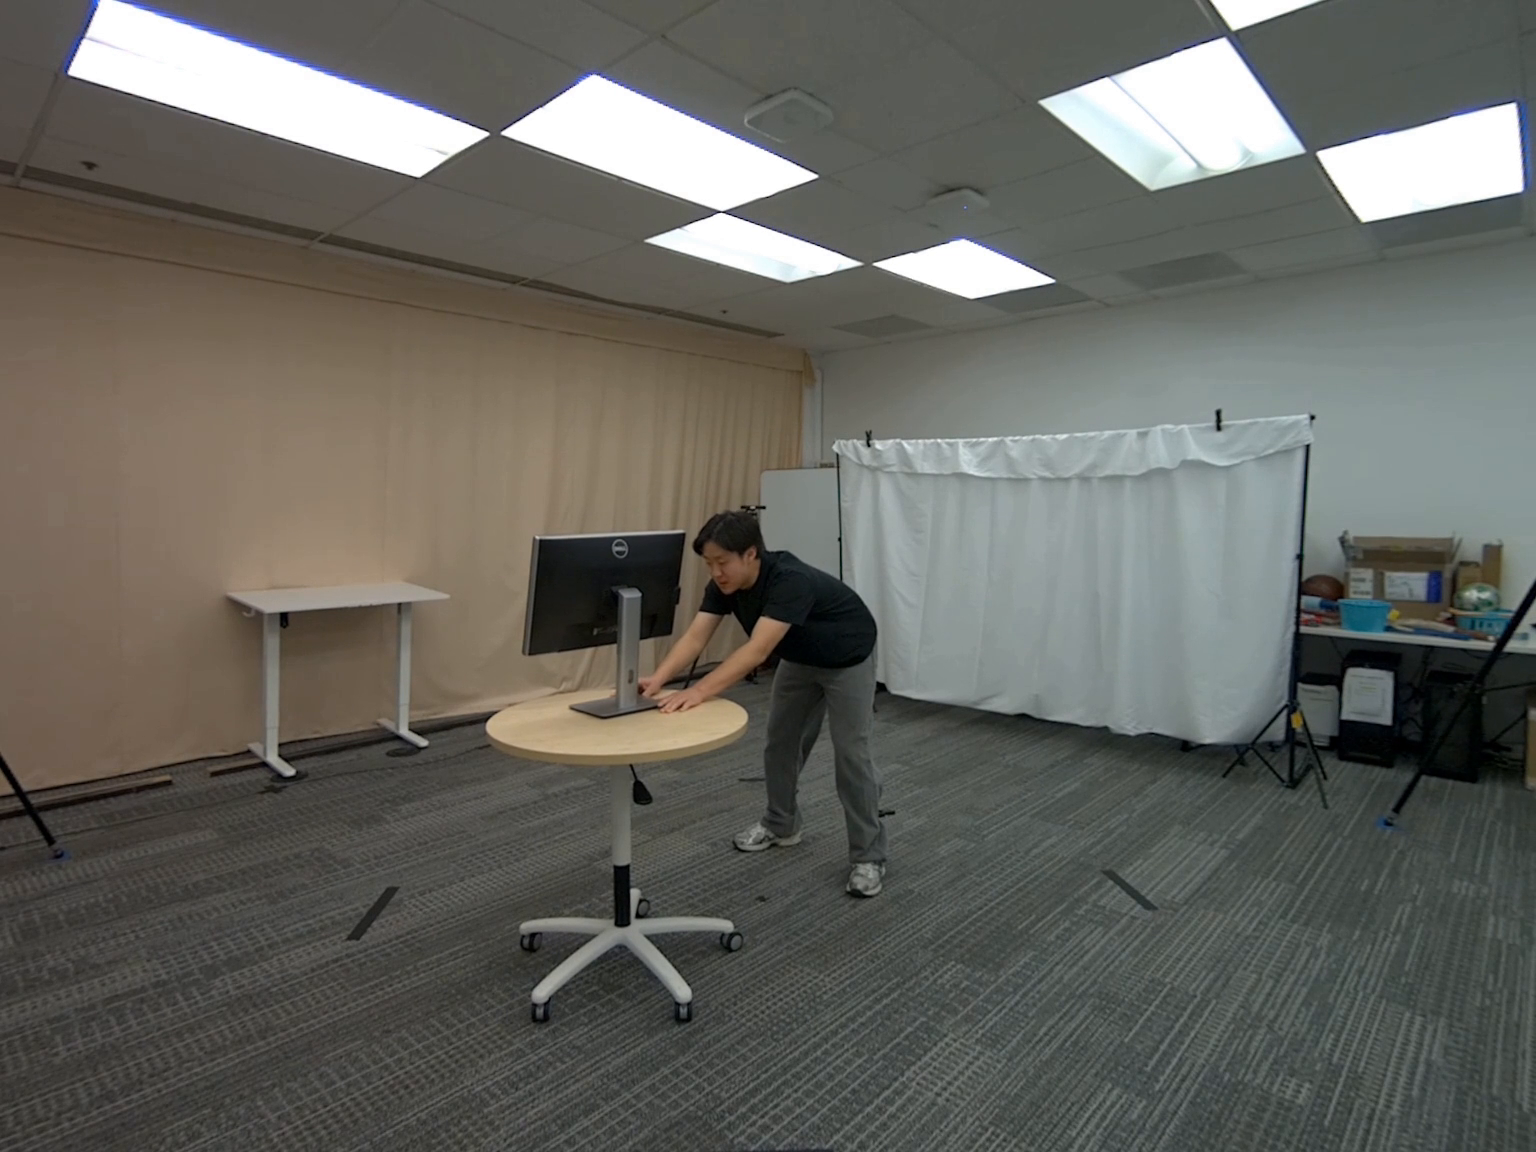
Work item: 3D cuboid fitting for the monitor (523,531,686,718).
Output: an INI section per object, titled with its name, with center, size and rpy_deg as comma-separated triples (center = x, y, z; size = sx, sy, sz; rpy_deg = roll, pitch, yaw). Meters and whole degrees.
[monitor]
center = -0.454, 0.144, 2.576
size = 0.217, 0.551, 0.548
rpy_deg = 11, 11, 44
